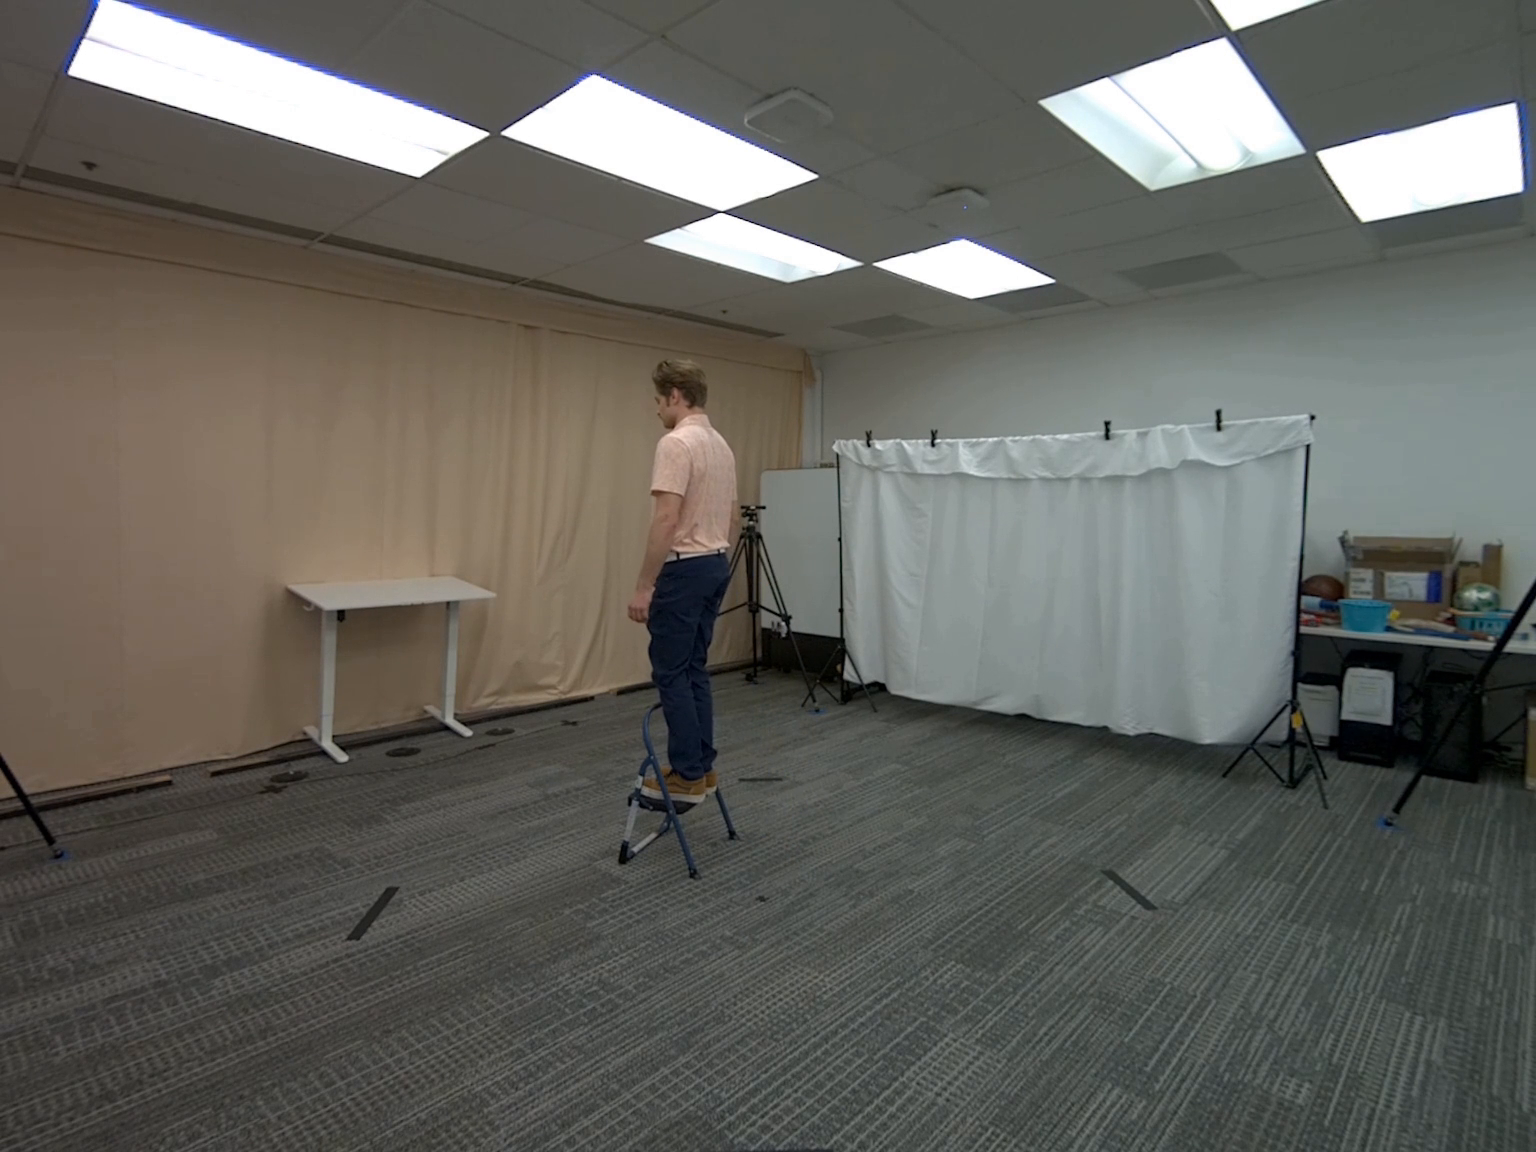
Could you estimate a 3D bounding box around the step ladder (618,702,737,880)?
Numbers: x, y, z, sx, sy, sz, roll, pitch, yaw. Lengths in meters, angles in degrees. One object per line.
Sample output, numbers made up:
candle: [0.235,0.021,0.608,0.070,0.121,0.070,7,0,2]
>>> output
step ladder: [-0.360,0.811,3.393,0.357,0.605,0.422,0,3,21]
